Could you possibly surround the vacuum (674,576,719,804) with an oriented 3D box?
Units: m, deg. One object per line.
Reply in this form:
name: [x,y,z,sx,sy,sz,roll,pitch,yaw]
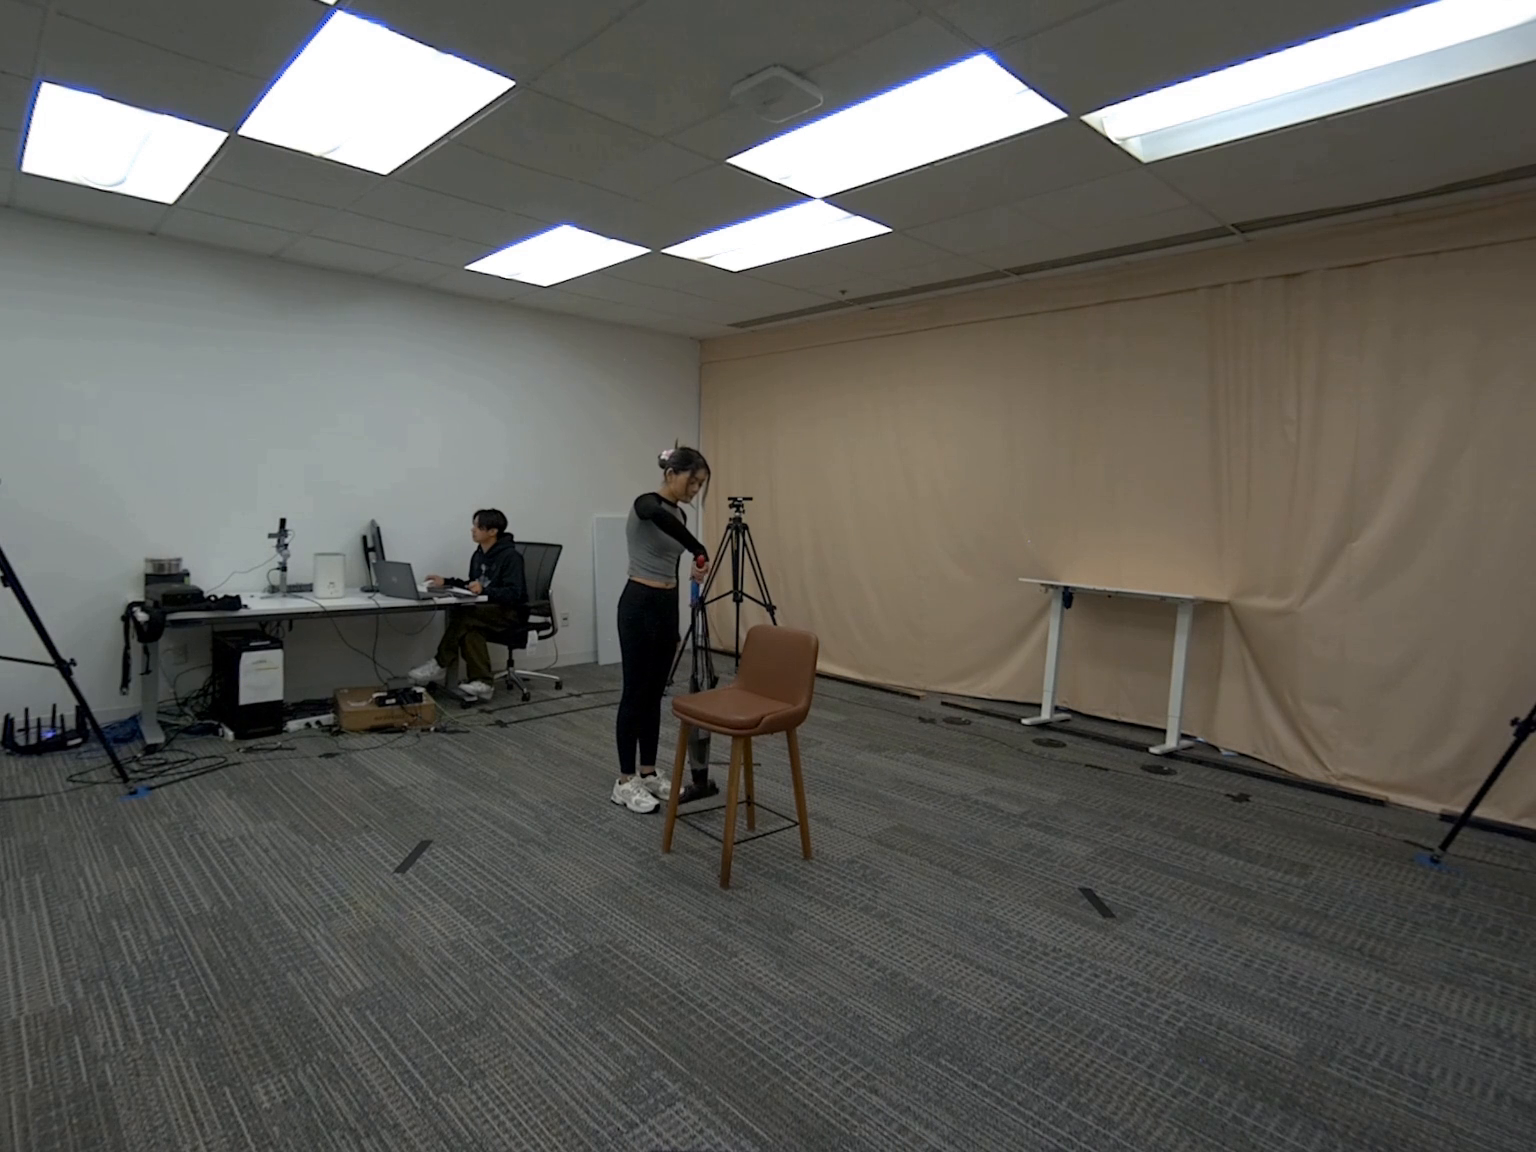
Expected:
vacuum: [-0.314,0.436,3.570,0.259,1.041,0.141,9,14,41]
